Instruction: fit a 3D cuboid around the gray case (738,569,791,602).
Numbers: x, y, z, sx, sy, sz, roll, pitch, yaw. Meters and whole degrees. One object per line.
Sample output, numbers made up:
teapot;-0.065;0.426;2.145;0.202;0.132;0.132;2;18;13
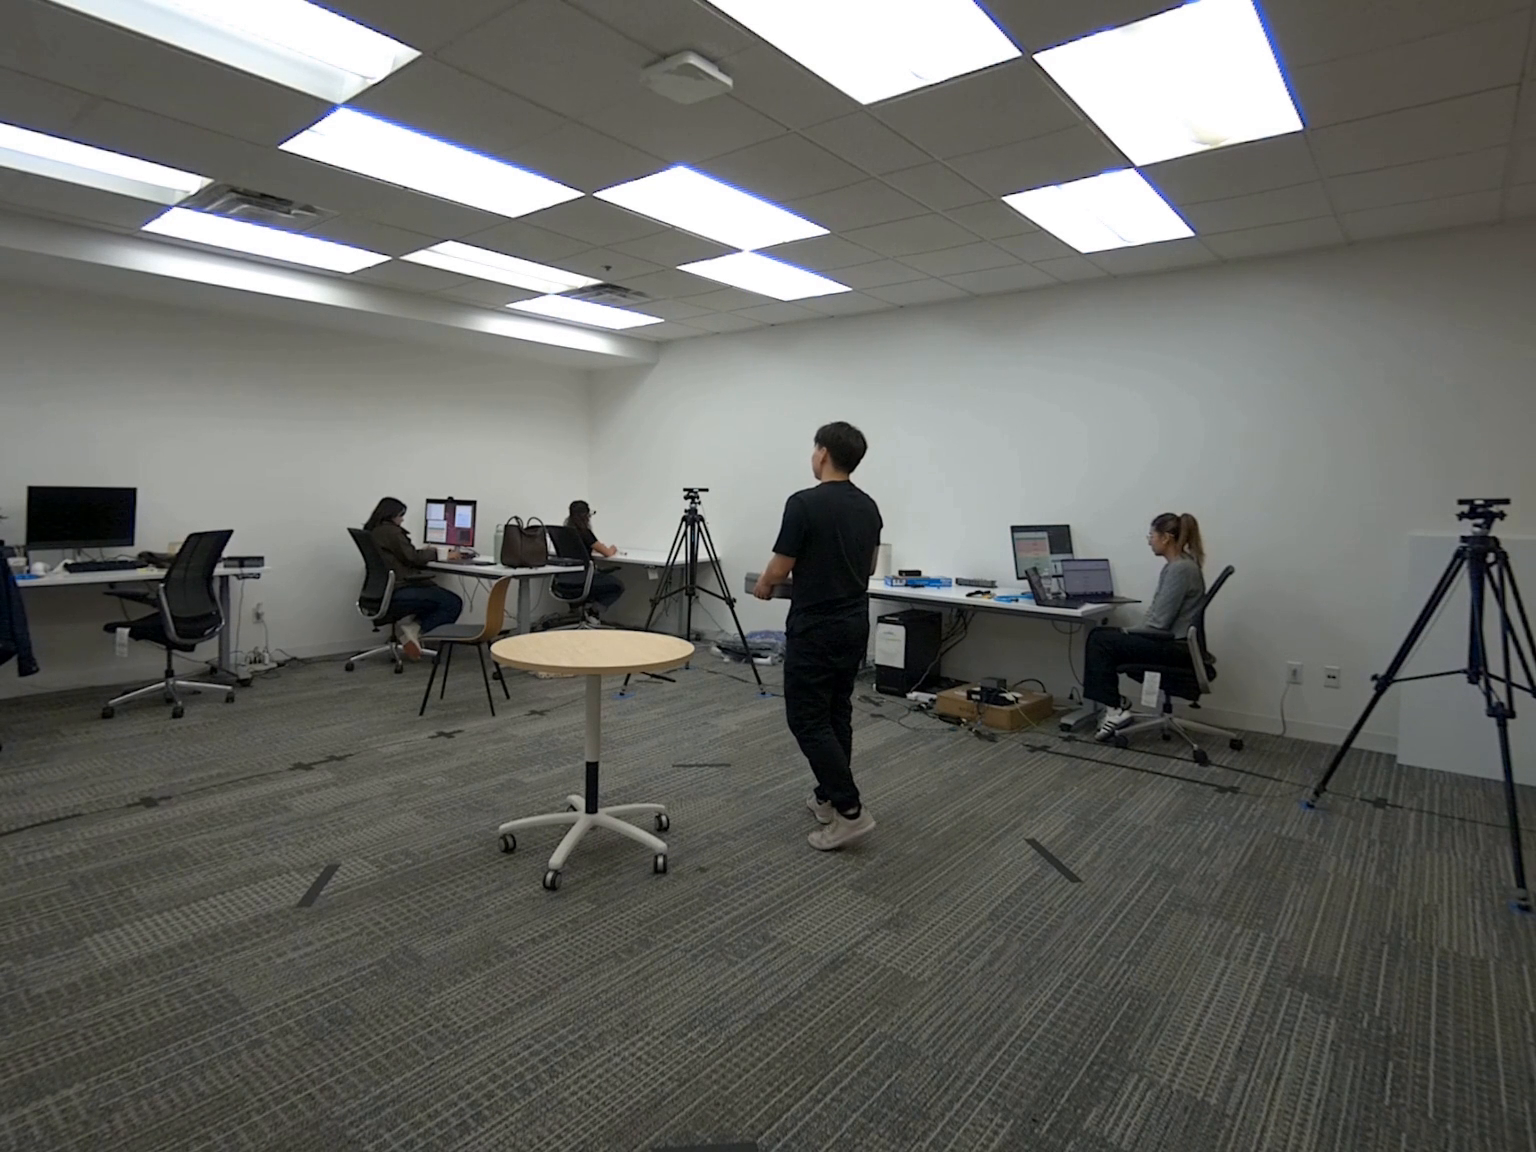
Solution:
gray case;0.054;0.045;3.789;0.248;0.104;0.270;8;1;-39
